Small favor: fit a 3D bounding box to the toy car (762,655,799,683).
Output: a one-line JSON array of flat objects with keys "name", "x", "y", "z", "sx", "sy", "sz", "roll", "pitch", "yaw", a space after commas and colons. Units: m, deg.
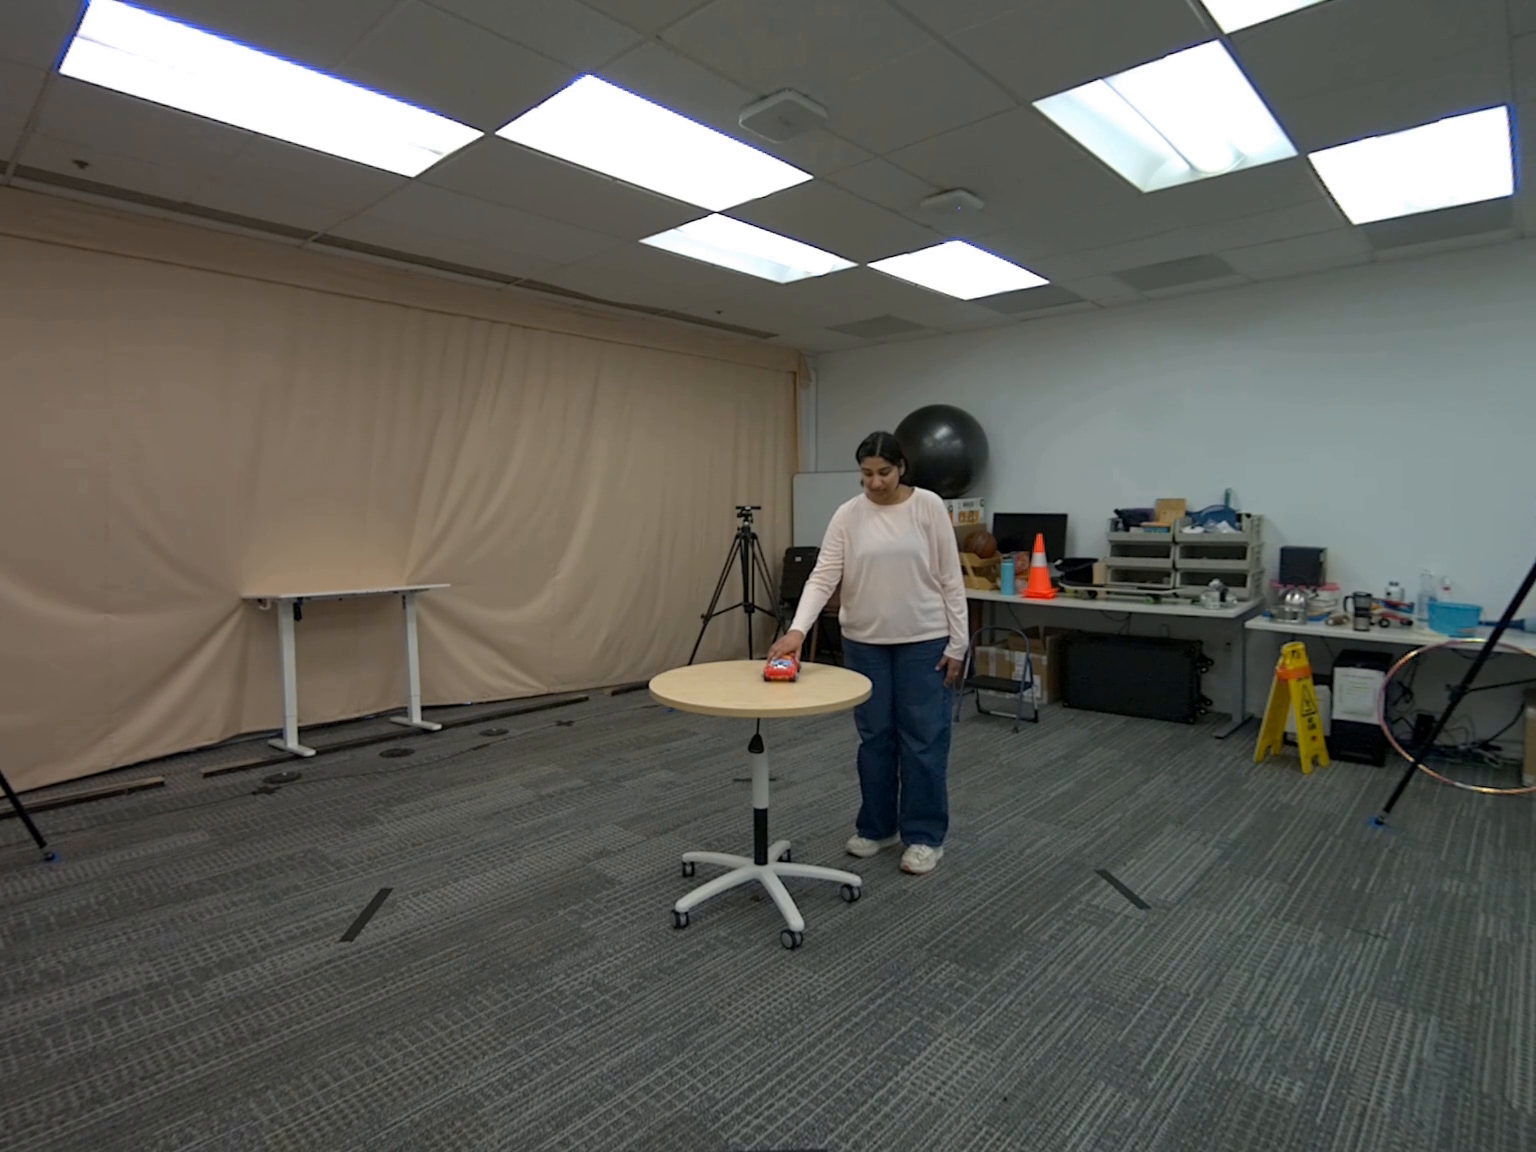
[{"name": "toy car", "x": 0.055, "y": 0.325, "z": 3.009, "sx": 0.131, "sy": 0.082, "sz": 0.255, "roll": 1, "pitch": 17, "yaw": 6}]
